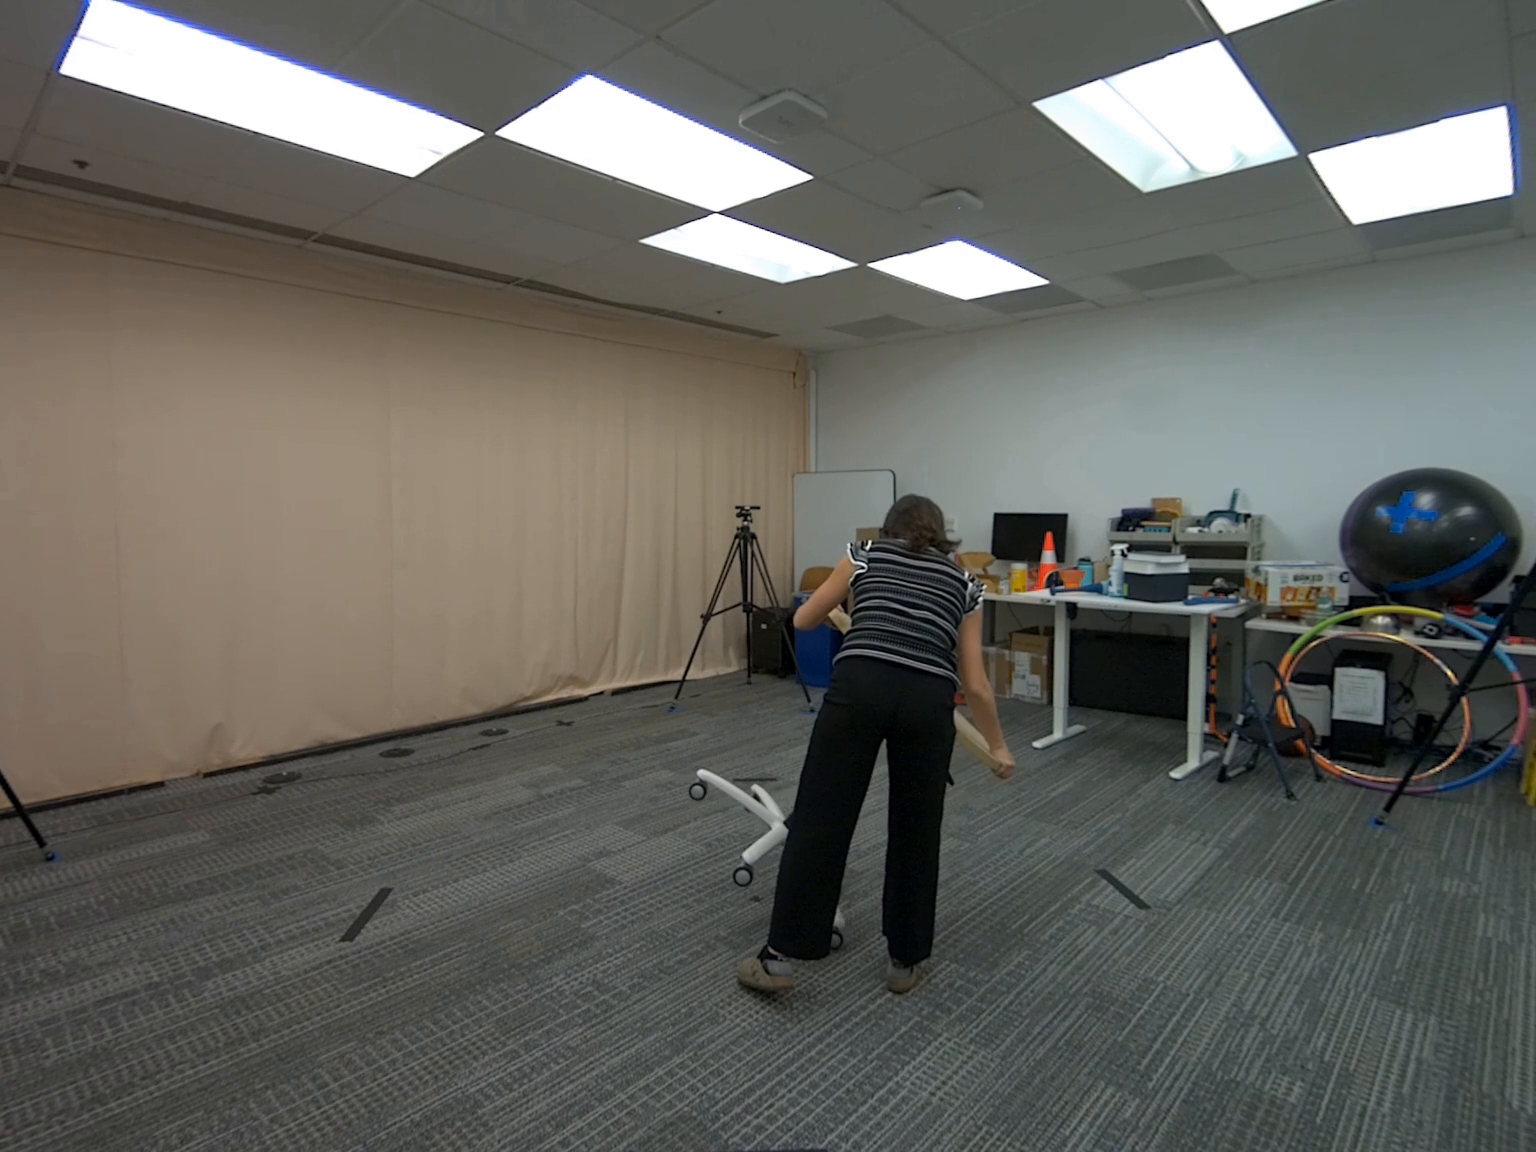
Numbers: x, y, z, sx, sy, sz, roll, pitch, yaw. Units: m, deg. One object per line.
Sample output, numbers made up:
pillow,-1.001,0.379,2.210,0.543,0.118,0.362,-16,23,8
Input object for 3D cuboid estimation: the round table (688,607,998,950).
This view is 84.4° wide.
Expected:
round table,0.231,0.653,2.821,0.780,0.787,0.790,40,5,-6
